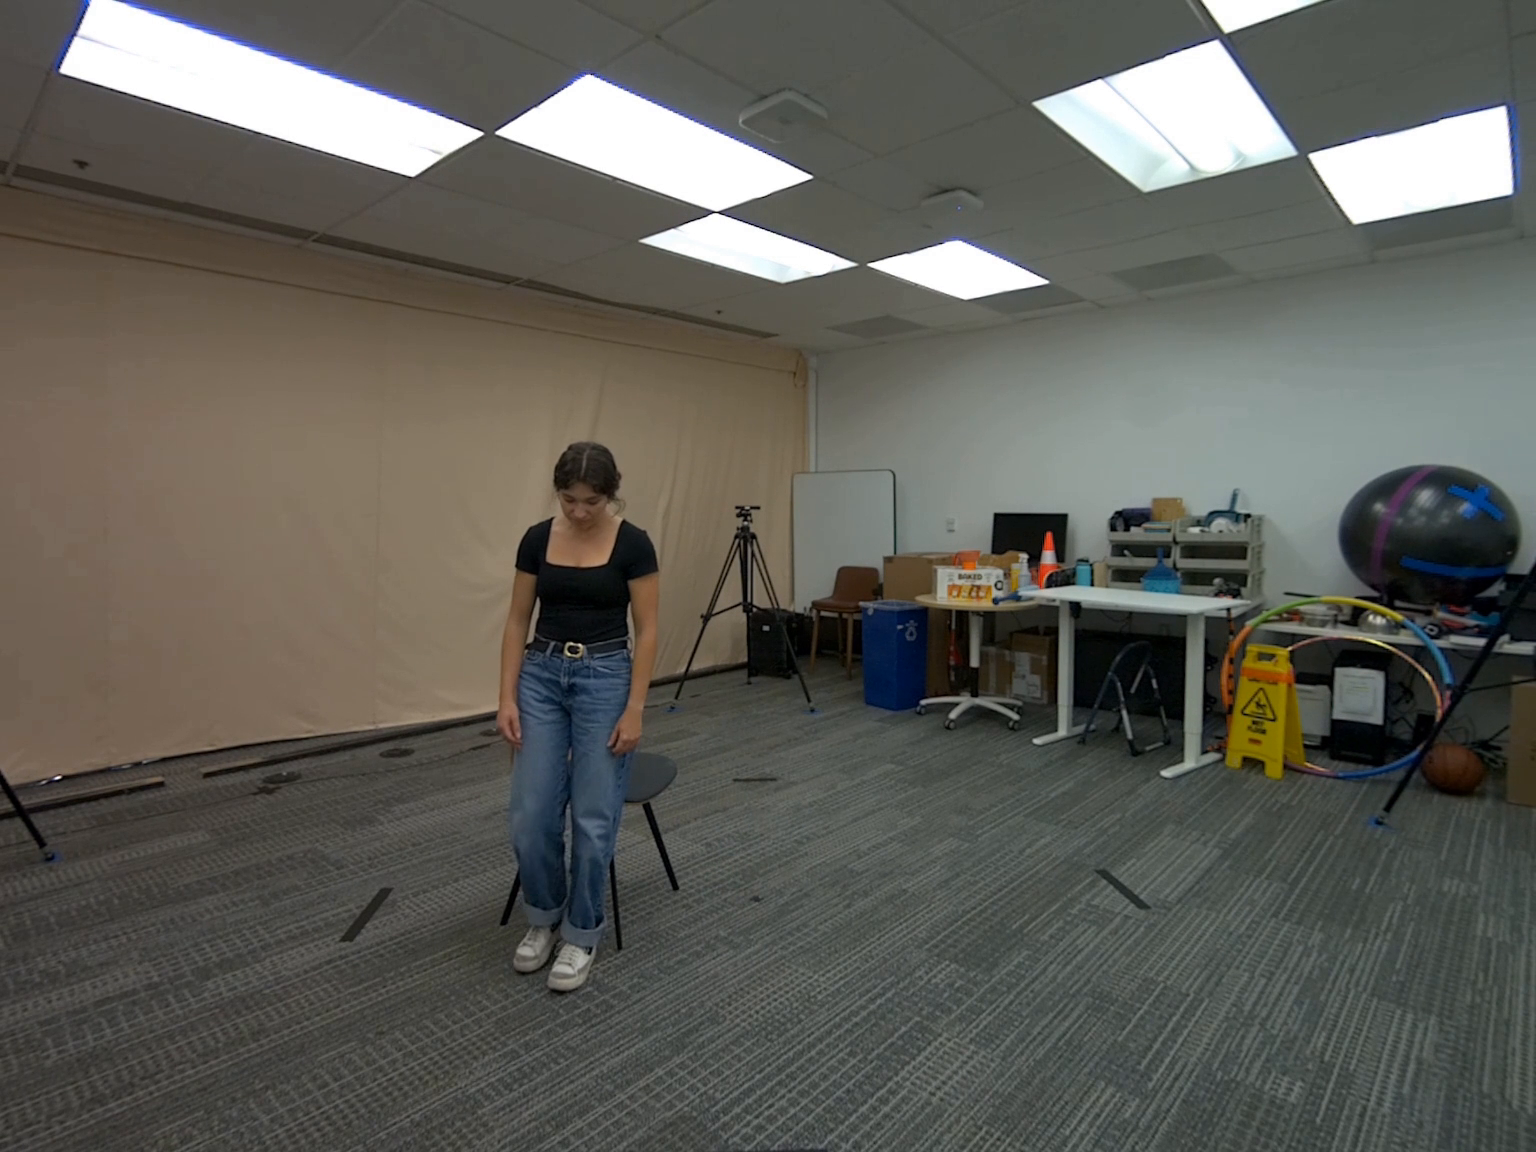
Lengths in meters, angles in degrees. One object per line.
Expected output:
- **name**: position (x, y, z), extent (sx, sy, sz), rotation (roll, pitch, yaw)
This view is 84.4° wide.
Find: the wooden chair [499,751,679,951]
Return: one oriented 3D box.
- **wooden chair**: position (-0.601, 0.728, 2.901), extent (0.534, 0.876, 0.469), rotation (-4, 2, 20)
